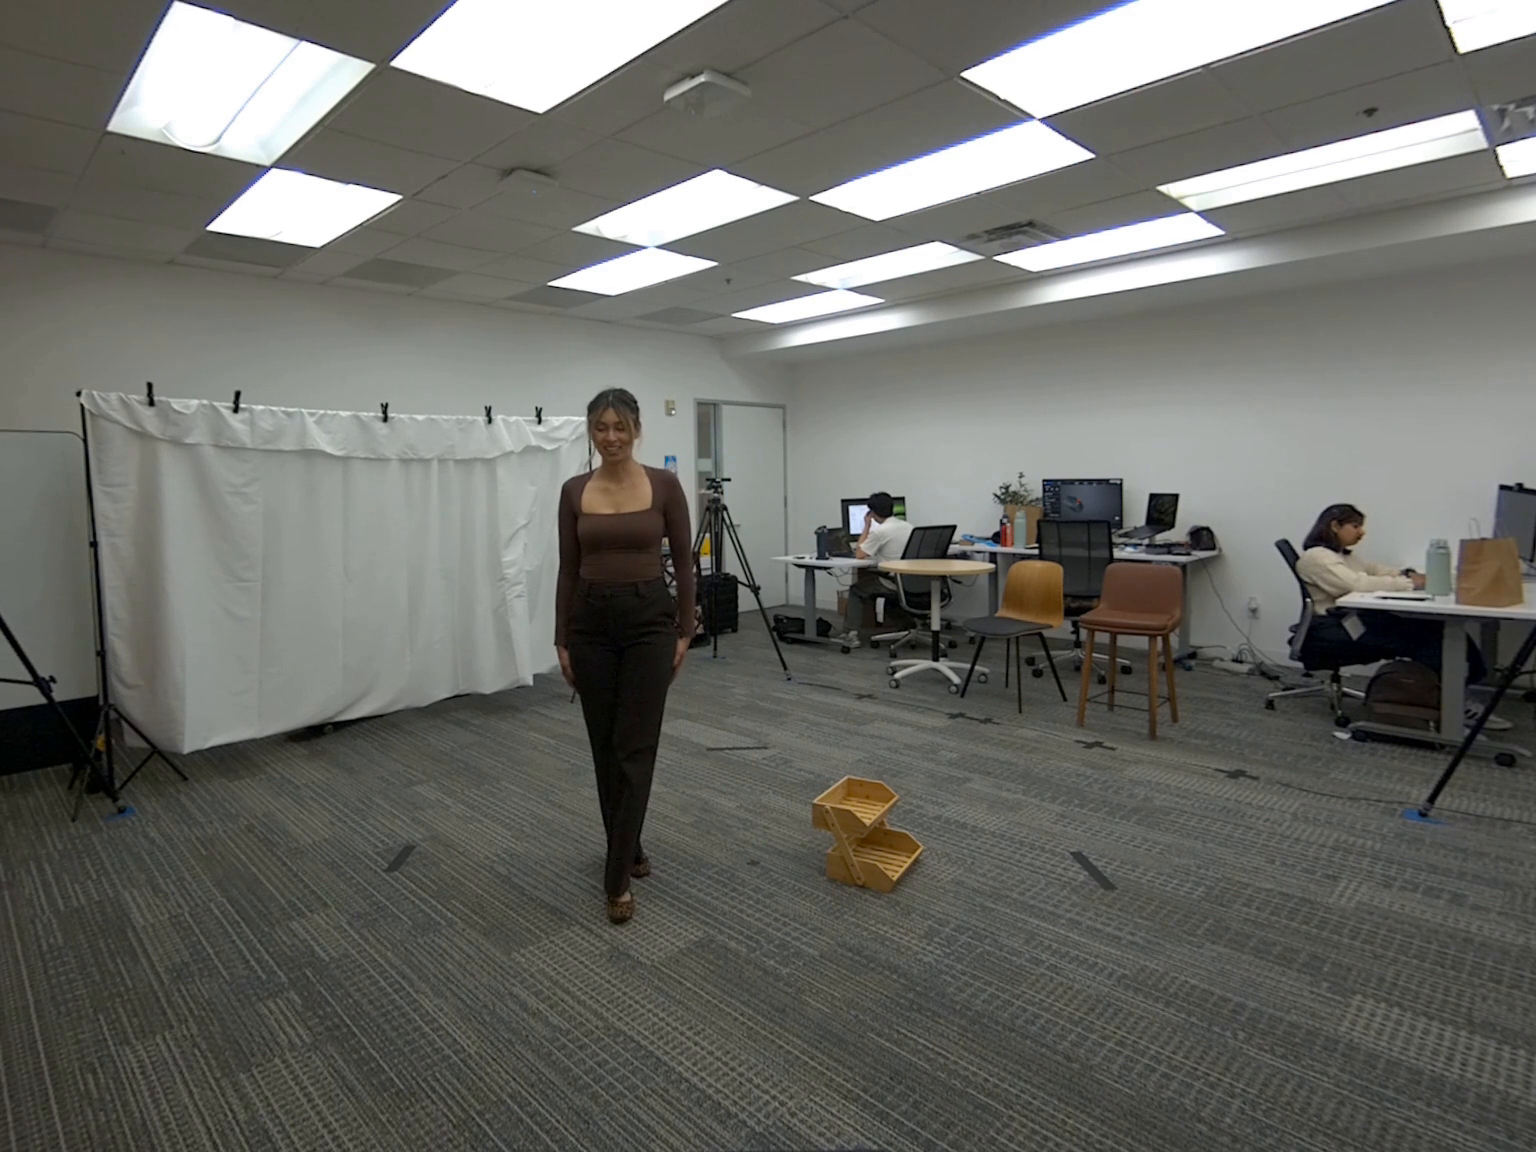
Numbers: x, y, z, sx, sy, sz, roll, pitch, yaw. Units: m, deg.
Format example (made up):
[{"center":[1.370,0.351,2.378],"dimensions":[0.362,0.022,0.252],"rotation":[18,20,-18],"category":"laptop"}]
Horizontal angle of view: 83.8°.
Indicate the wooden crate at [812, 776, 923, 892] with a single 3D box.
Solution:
[{"center":[0.371,0.910,3.051],"dimensions":[0.310,0.272,0.317],"rotation":[2,6,30],"category":"wooden crate"}]
